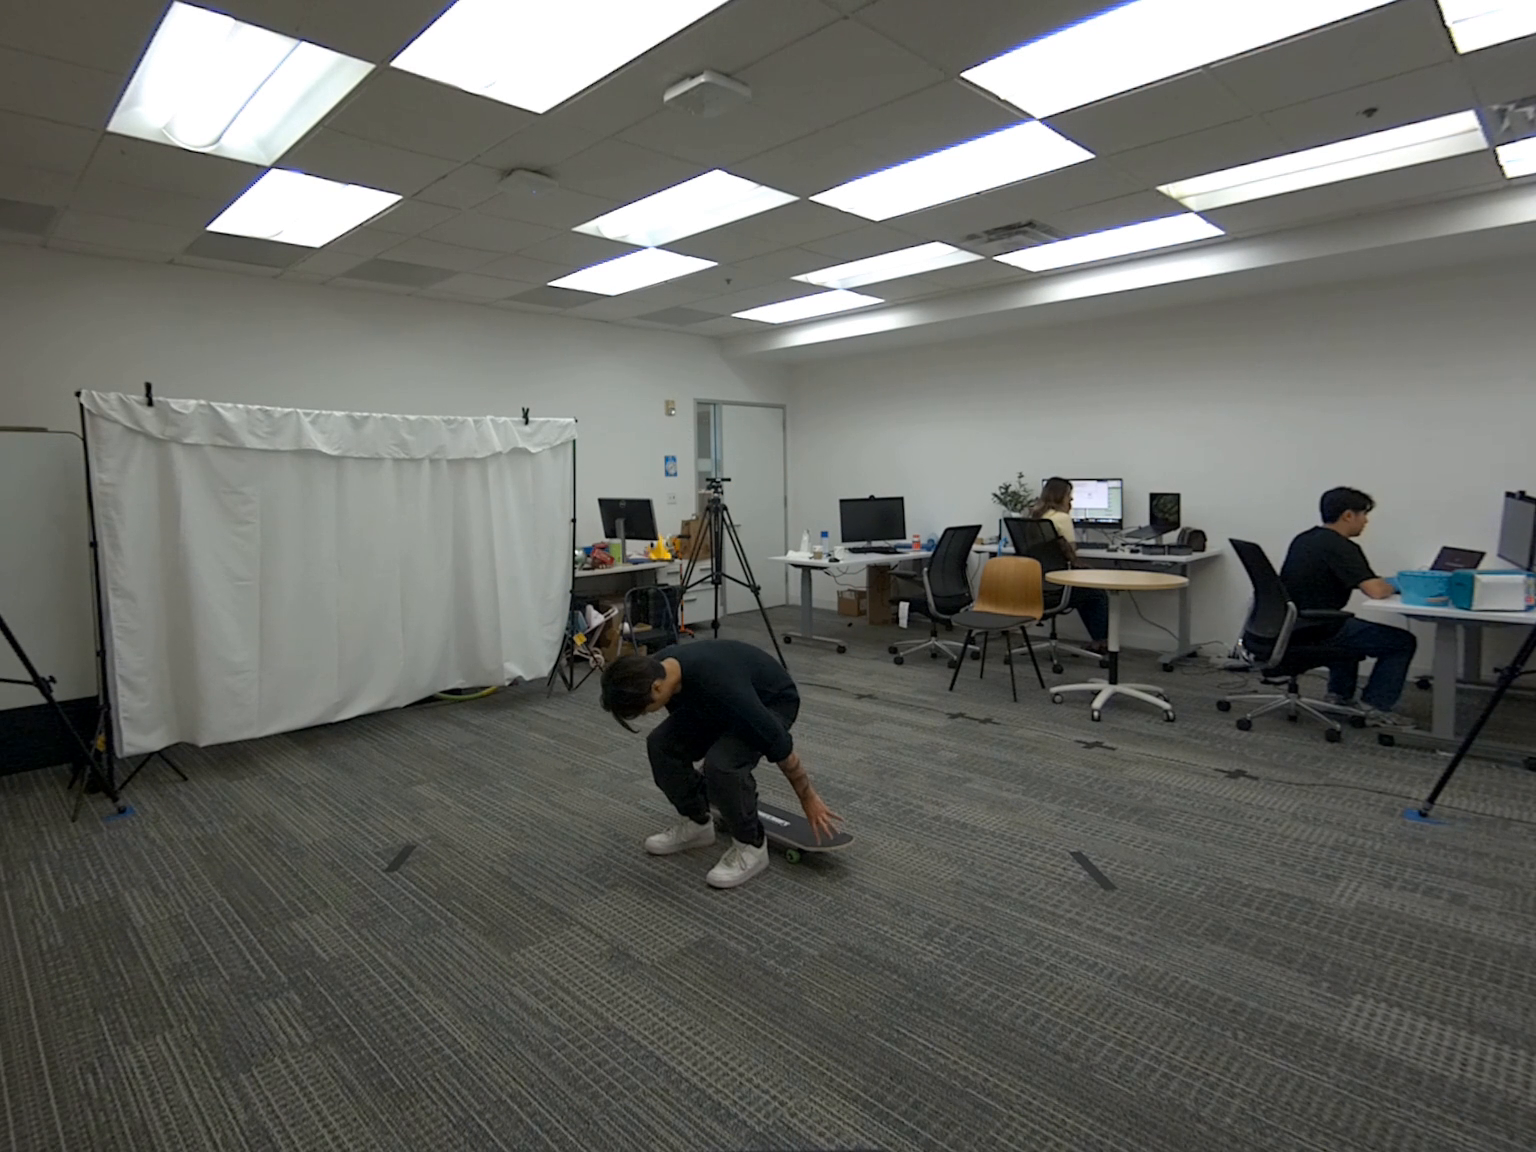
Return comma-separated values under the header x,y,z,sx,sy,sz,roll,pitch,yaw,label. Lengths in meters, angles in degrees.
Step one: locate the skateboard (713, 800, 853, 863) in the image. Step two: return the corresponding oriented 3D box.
x,y,z,sx,sy,sz,roll,pitch,yaw,label
0.006,0.961,3.296,0.188,0.110,0.810,-7,9,-43,skateboard
